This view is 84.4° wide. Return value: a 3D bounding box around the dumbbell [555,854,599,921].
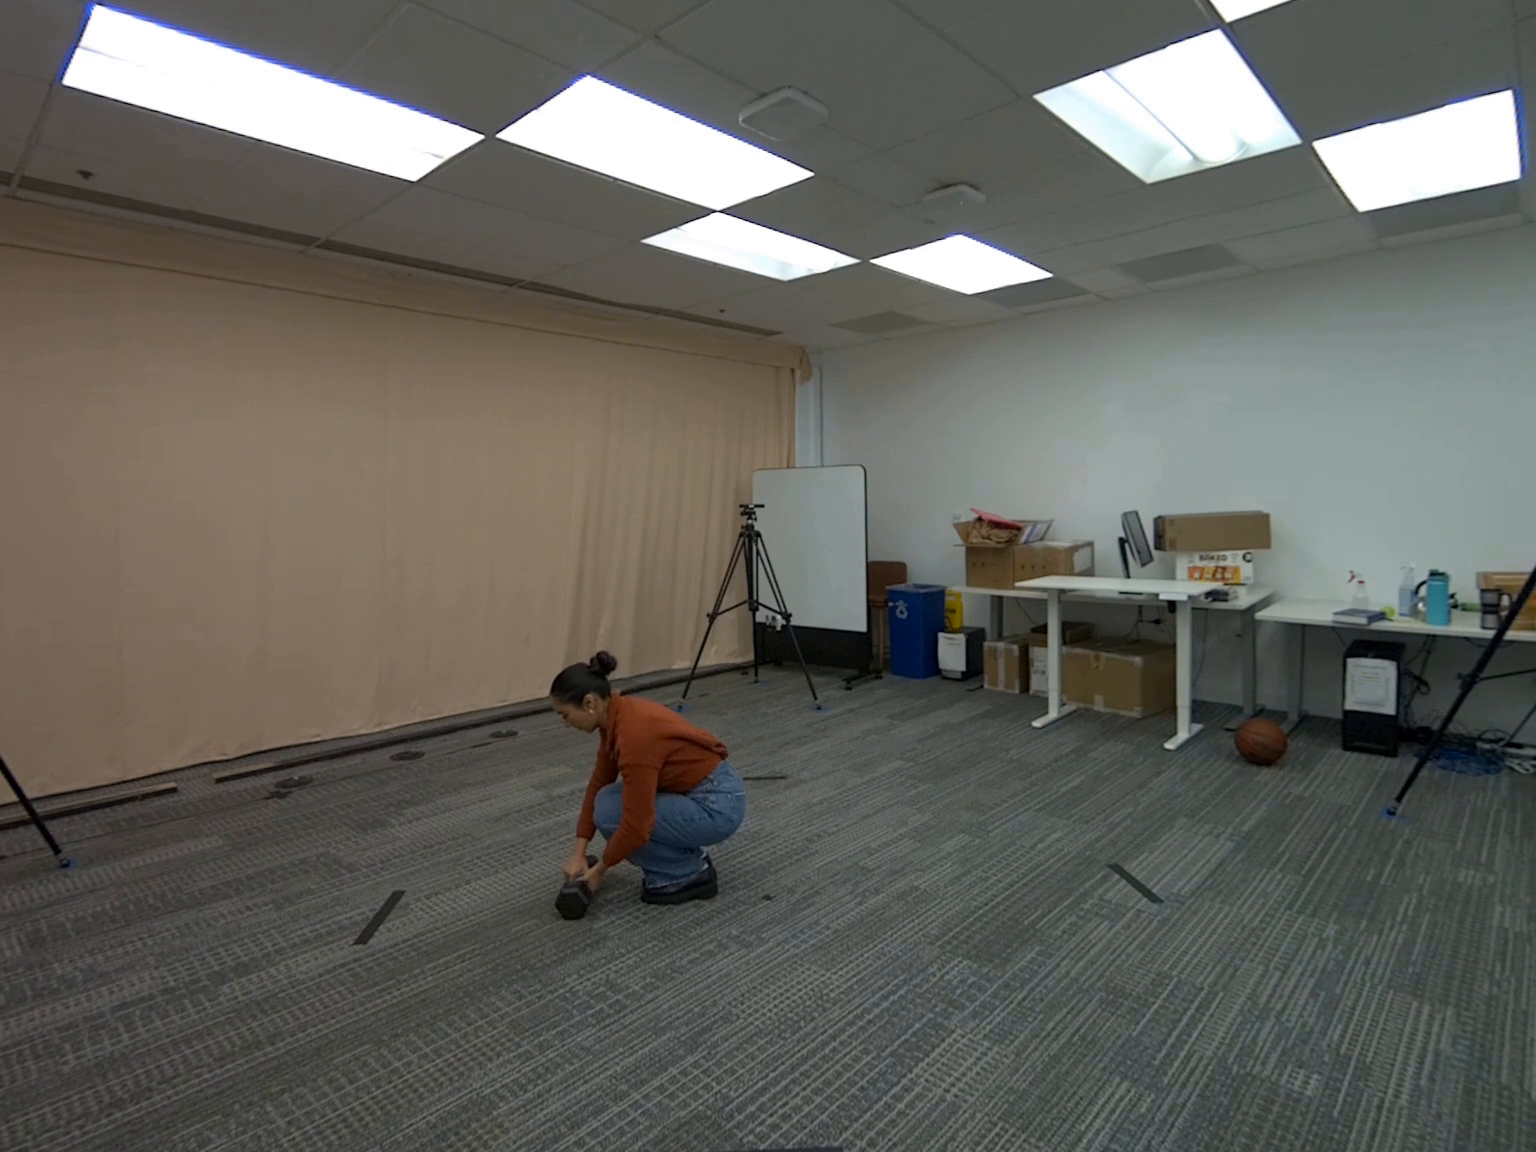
[{"bbox_3d":[-0.664,1.087,2.990,0.109,0.123,0.293,24,2,-2],"label":"dumbbell"}]
